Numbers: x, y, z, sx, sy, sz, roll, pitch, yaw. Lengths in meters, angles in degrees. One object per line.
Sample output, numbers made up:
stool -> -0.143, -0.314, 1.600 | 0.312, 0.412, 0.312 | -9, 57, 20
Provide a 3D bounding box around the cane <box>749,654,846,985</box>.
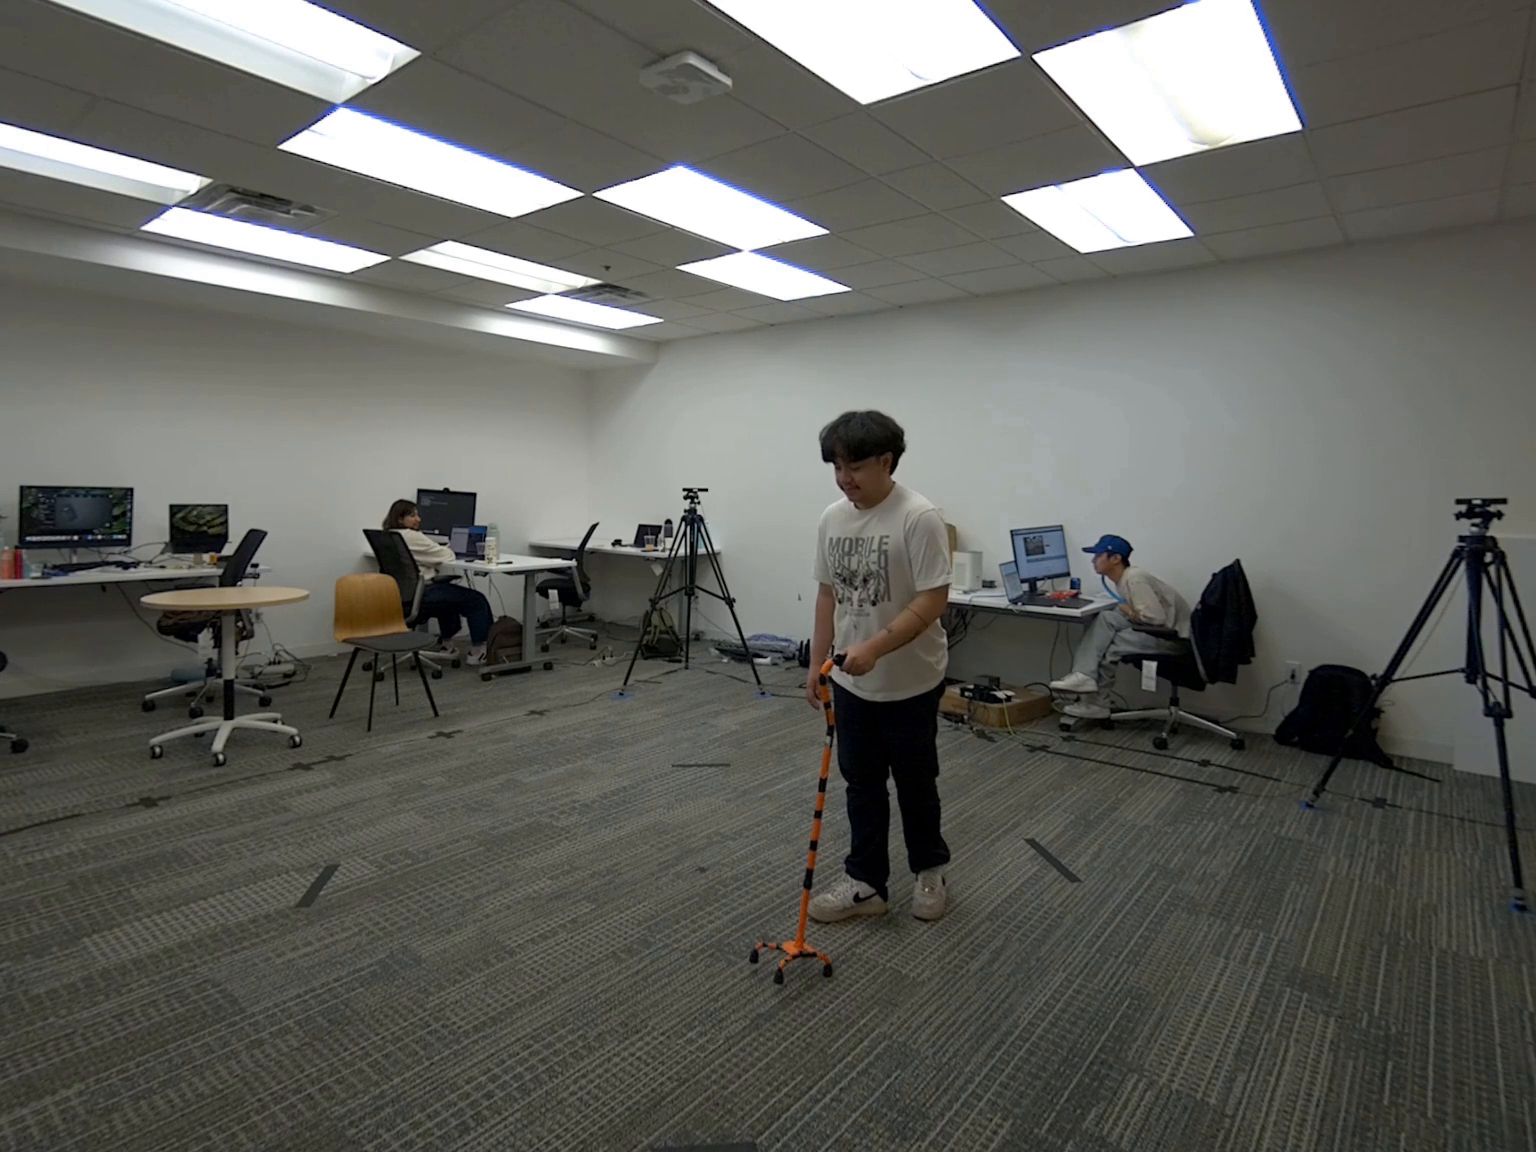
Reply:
cane -> 0.128, 0.683, 2.471 | 0.200, 0.909, 0.156 | 10, -2, -33
